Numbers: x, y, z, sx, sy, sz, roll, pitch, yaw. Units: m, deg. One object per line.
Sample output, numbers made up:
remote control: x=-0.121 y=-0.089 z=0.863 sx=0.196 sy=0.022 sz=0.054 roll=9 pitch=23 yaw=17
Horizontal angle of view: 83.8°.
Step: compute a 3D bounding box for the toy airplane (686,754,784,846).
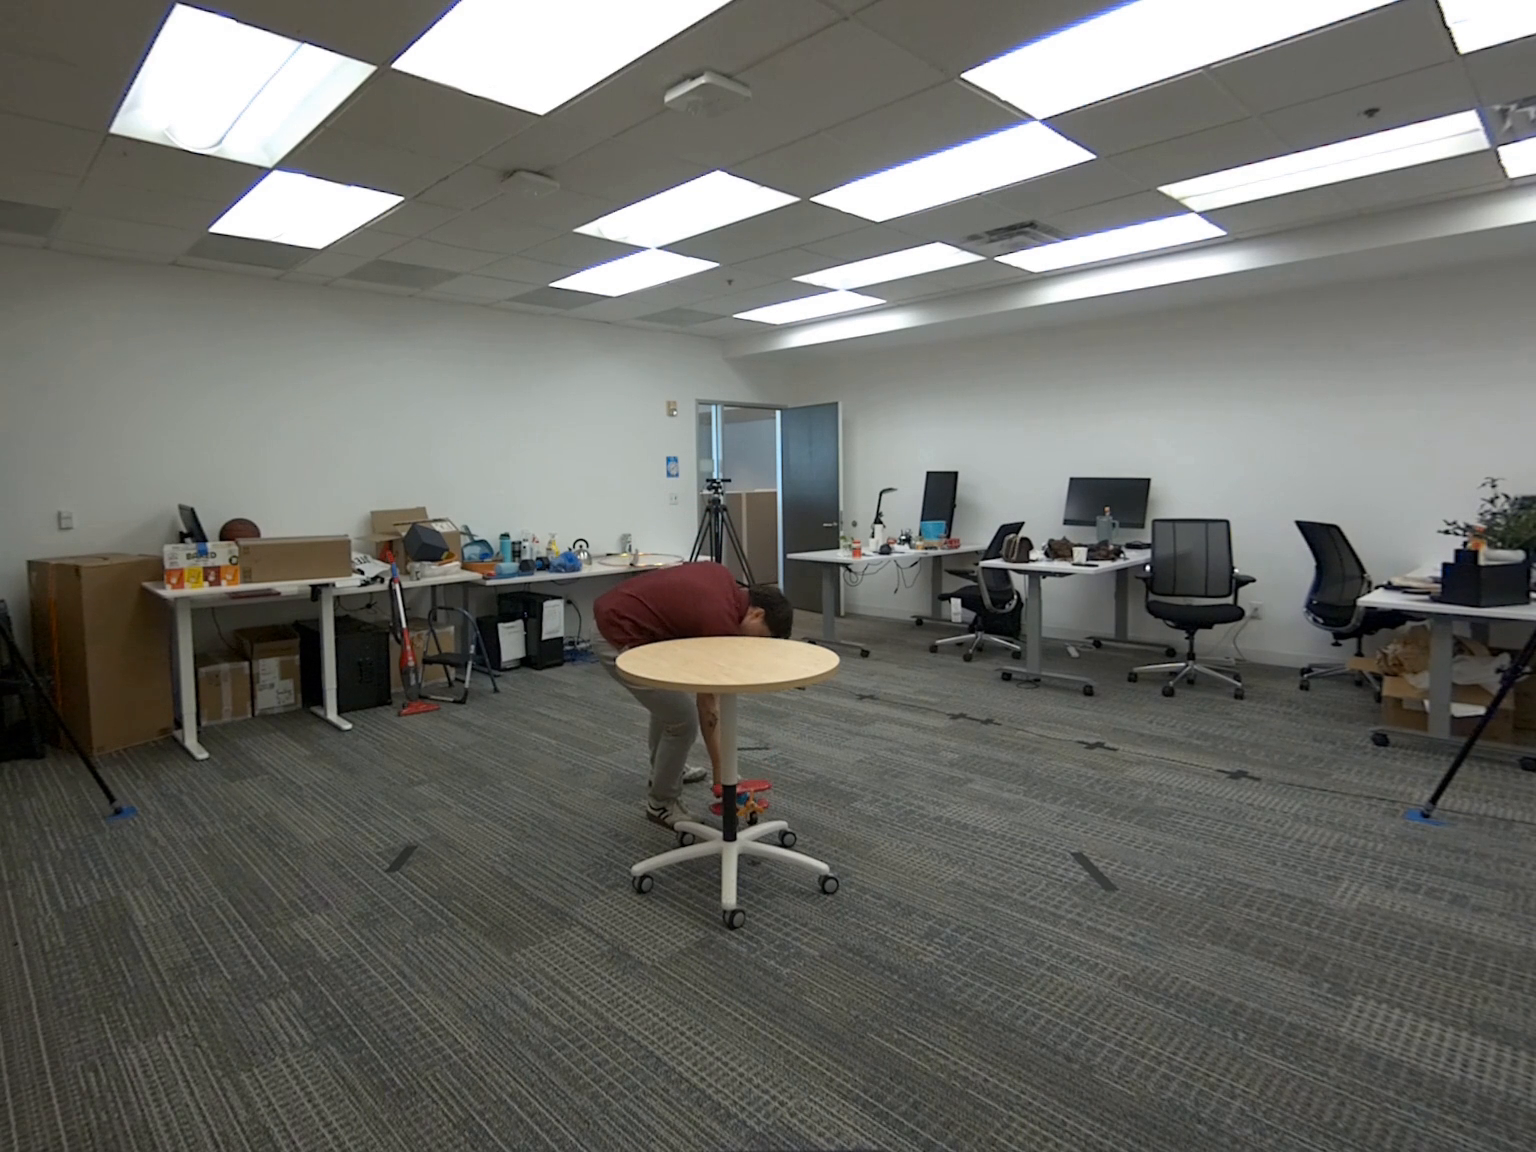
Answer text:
toy airplane: x=-0.133 y=0.872 z=3.374 sx=0.268 sy=0.154 sz=0.246 roll=24 pitch=22 yaw=29
